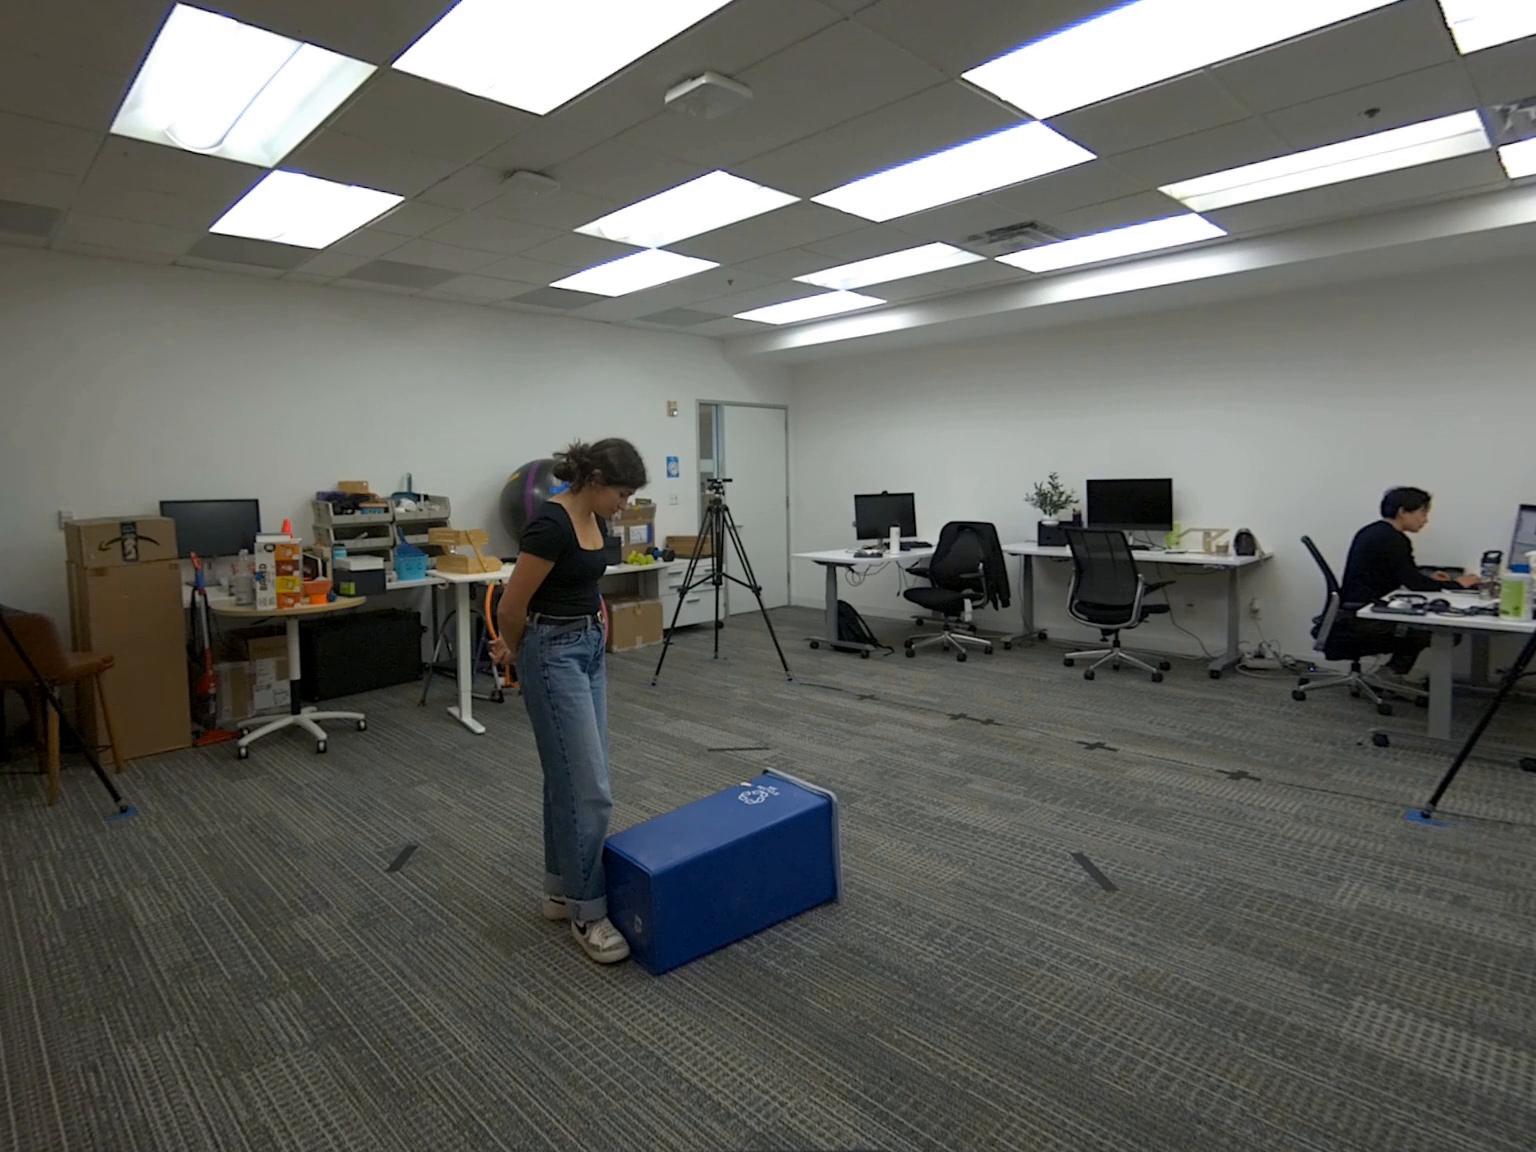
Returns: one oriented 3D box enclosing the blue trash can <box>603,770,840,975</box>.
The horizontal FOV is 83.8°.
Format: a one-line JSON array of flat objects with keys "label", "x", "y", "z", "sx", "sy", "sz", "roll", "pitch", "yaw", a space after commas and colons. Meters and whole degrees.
[{"label": "blue trash can", "x": -0.140, "y": 0.927, "z": 2.719, "sx": 0.697, "sy": 0.375, "sz": 0.385, "roll": -10, "pitch": 10, "yaw": -39}]
